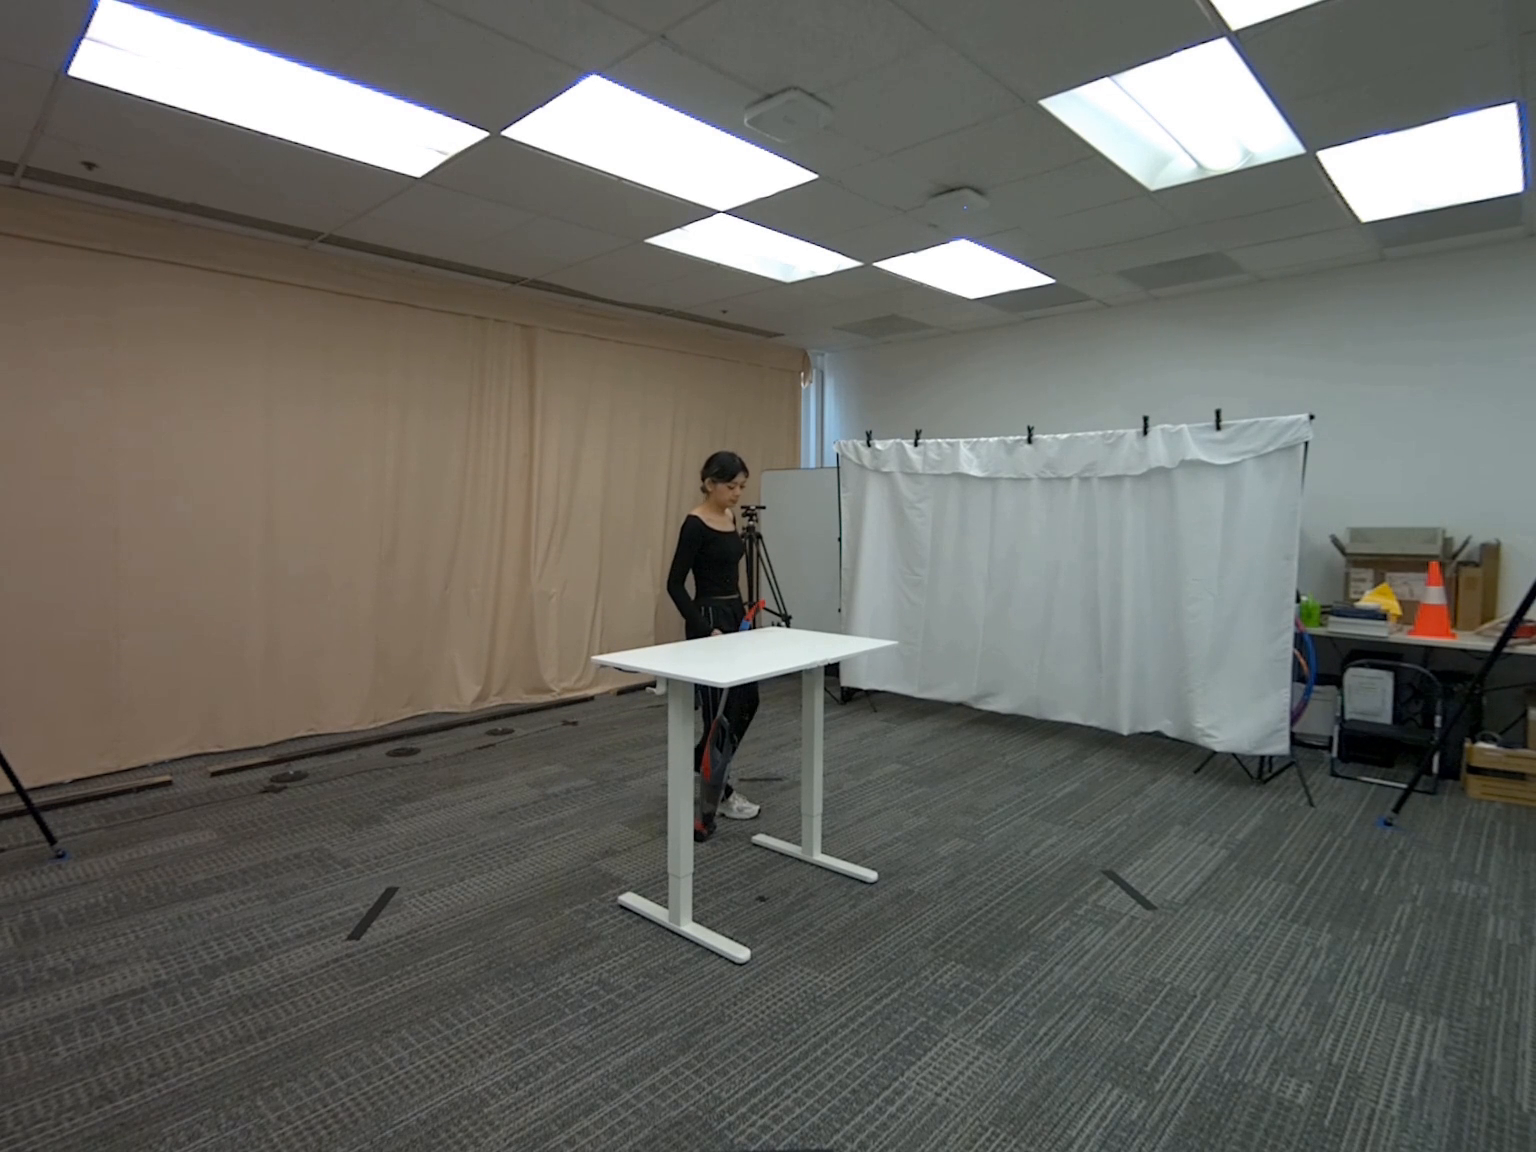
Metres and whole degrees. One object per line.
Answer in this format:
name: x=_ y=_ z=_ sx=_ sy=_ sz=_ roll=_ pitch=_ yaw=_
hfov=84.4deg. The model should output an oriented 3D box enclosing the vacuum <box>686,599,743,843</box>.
vacuum: x=-0.171 y=0.600 z=3.488 sx=0.149 sy=1.046 sz=0.245 roll=22 pitch=11 yaw=32
